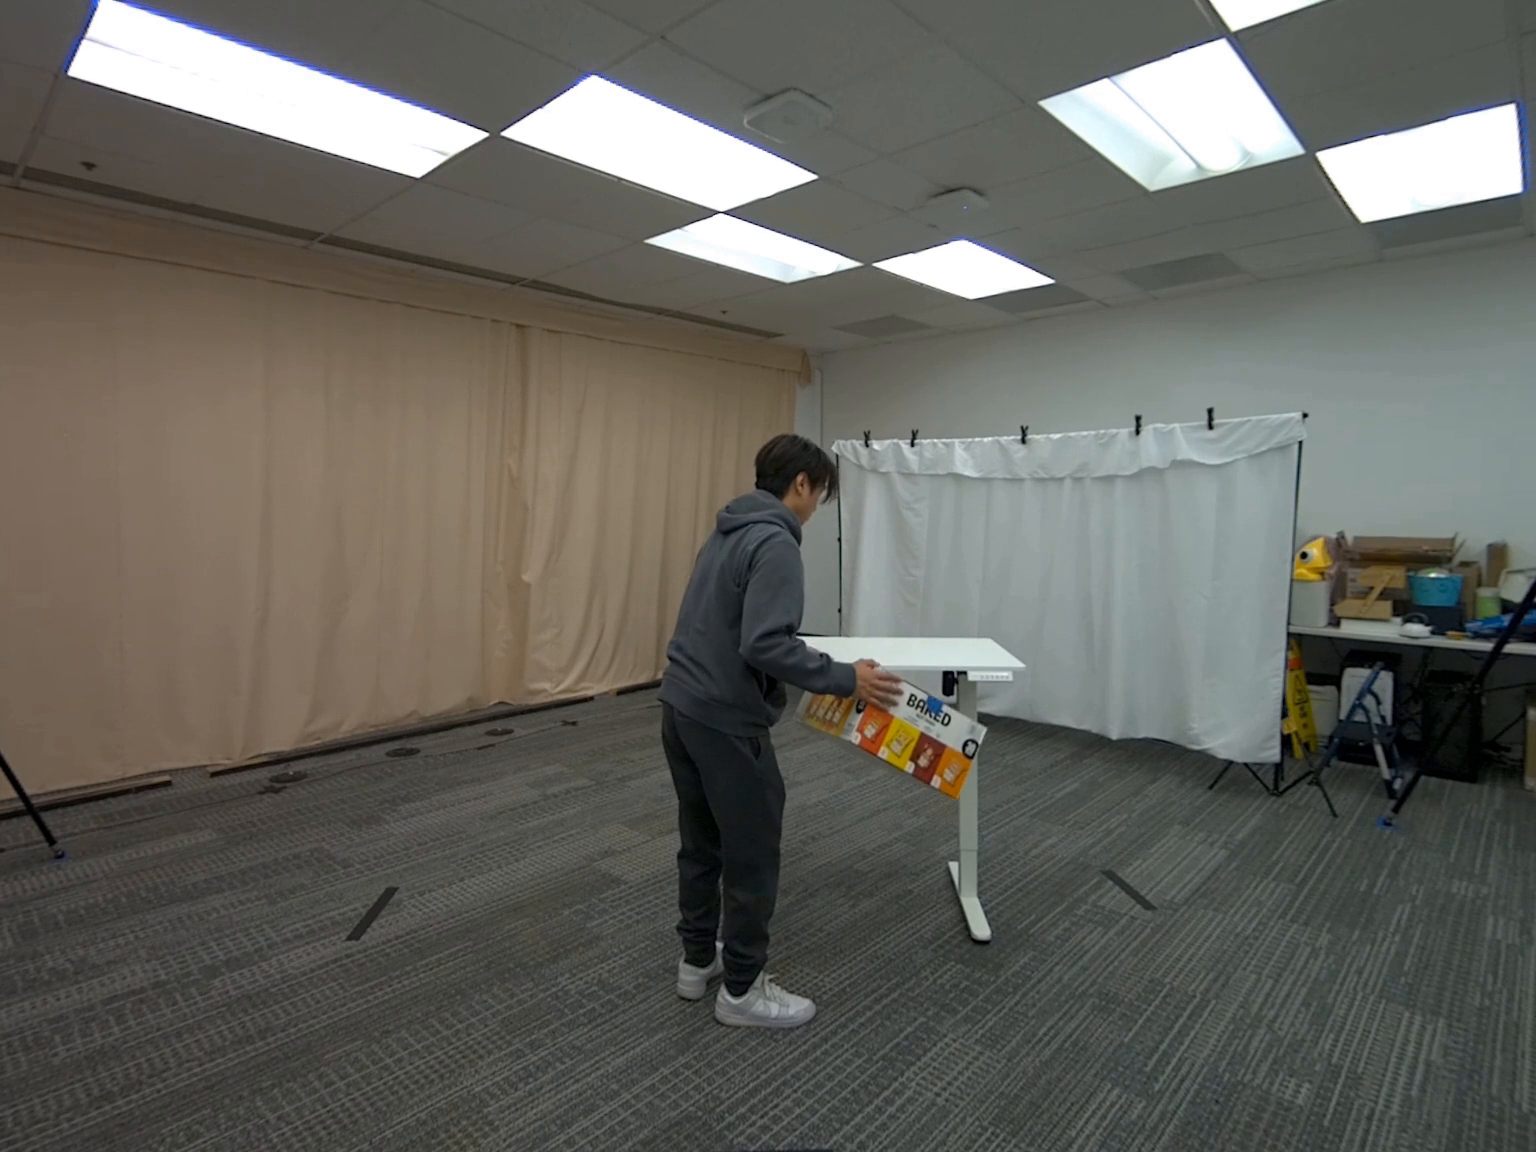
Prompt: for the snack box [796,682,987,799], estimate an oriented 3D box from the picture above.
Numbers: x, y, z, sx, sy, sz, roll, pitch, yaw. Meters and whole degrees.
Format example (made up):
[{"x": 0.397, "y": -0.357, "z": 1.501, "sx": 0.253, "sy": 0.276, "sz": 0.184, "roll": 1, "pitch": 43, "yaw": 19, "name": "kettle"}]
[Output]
[{"x": 0.329, "y": 0.411, "z": 2.334, "sx": 0.335, "sy": 0.206, "sz": 0.411, "roll": 31, "pitch": -12, "yaw": -14, "name": "snack box"}]
